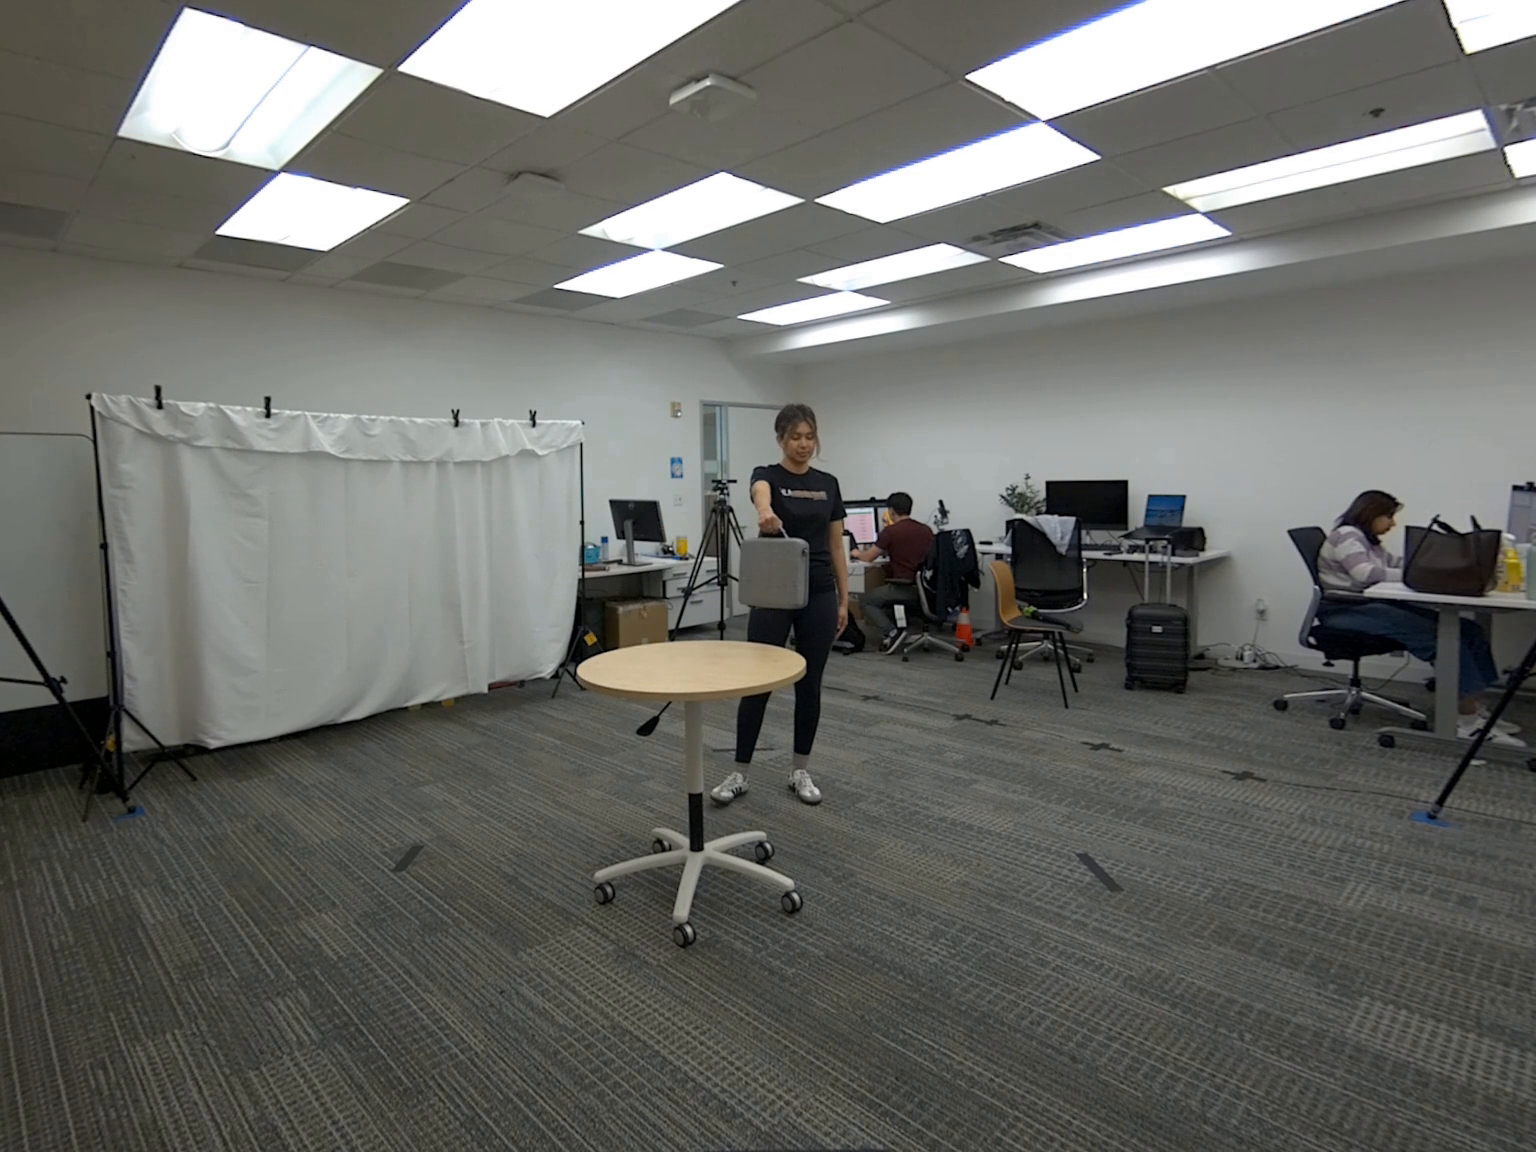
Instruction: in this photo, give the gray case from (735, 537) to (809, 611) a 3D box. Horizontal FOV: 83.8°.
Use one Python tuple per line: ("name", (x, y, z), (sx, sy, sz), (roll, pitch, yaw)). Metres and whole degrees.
("gray case", (0.020, -0.014, 3.146), (0.263, 0.261, 0.102), (1, -3, 26))
